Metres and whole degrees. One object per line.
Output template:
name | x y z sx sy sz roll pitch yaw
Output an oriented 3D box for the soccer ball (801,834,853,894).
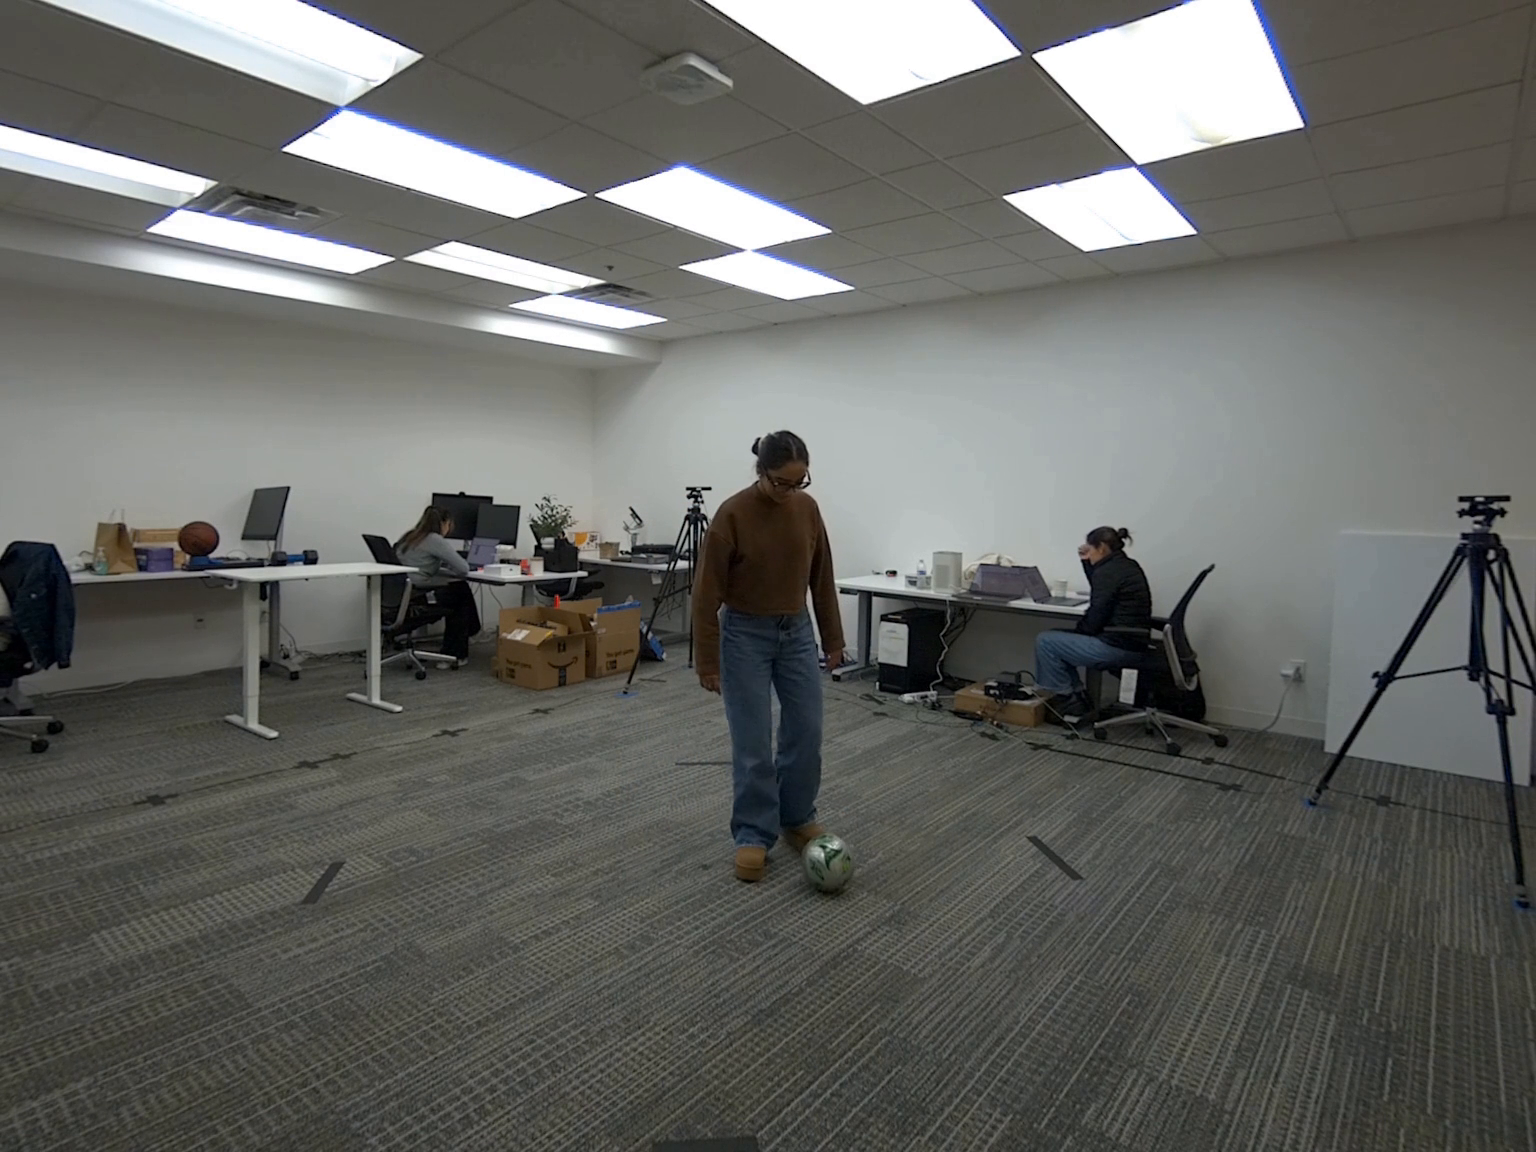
soccer ball | 0.196 0.991 2.962 0.187 0.187 0.188 1 4 -2
